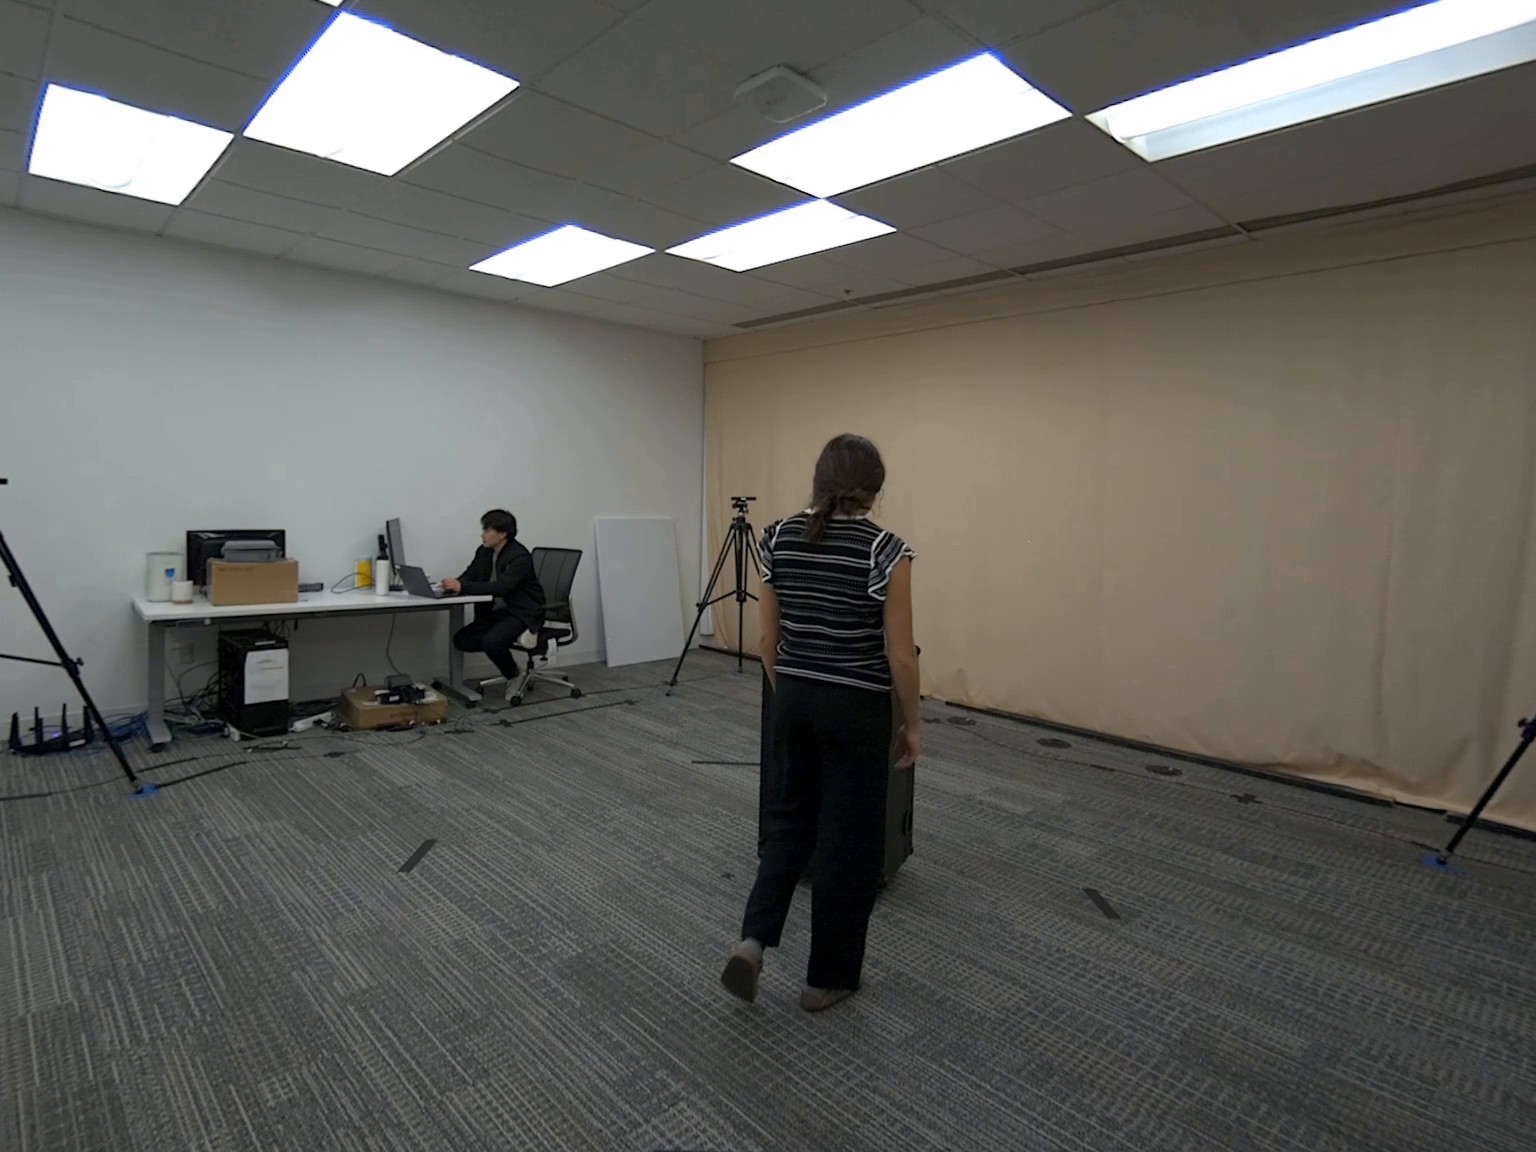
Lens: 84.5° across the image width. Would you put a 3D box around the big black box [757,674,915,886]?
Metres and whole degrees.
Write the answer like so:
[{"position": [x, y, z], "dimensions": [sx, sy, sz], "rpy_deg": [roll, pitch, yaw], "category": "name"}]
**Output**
[{"position": [0.259, 0.691, 3.104], "dimensions": [0.532, 0.859, 0.389], "rpy_deg": [4, 5, 27], "category": "big black box"}]
